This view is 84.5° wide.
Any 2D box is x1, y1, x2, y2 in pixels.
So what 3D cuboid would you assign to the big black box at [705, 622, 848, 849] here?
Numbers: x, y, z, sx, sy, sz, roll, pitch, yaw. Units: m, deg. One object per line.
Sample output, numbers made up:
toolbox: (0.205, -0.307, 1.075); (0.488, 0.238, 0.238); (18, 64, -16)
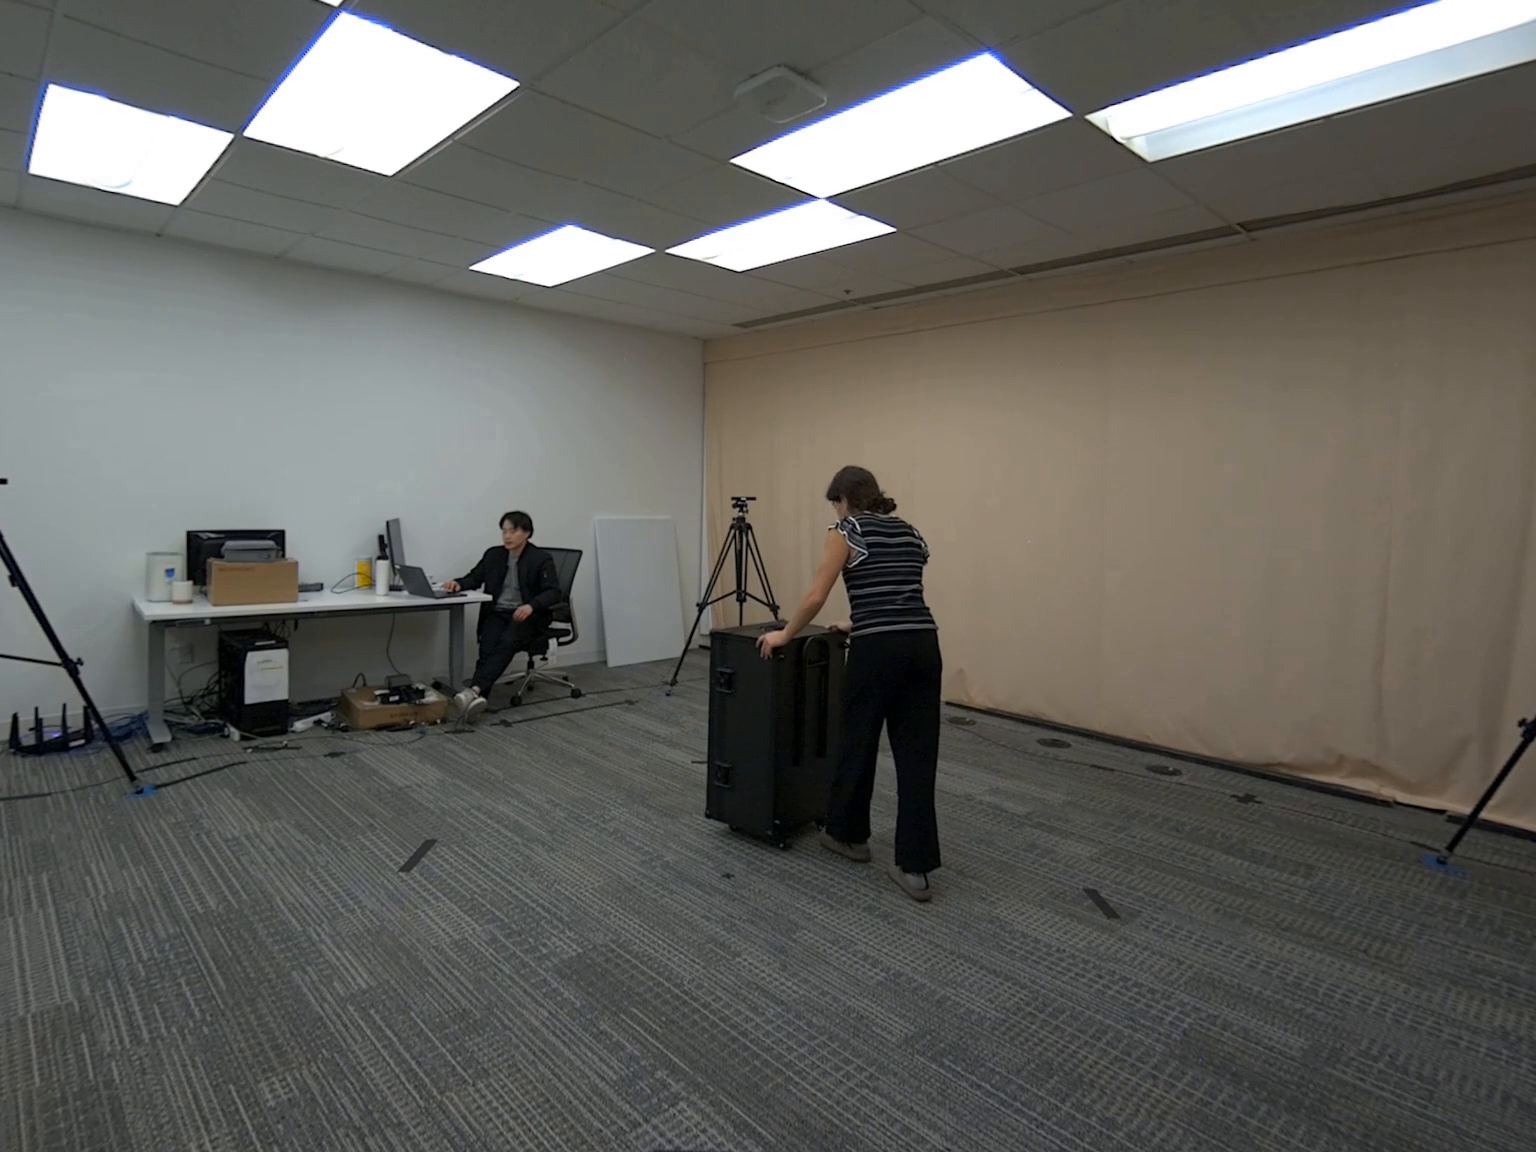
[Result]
big black box: (0.042, 0.649, 3.539); (0.406, 0.859, 0.509); (5, 4, 40)
